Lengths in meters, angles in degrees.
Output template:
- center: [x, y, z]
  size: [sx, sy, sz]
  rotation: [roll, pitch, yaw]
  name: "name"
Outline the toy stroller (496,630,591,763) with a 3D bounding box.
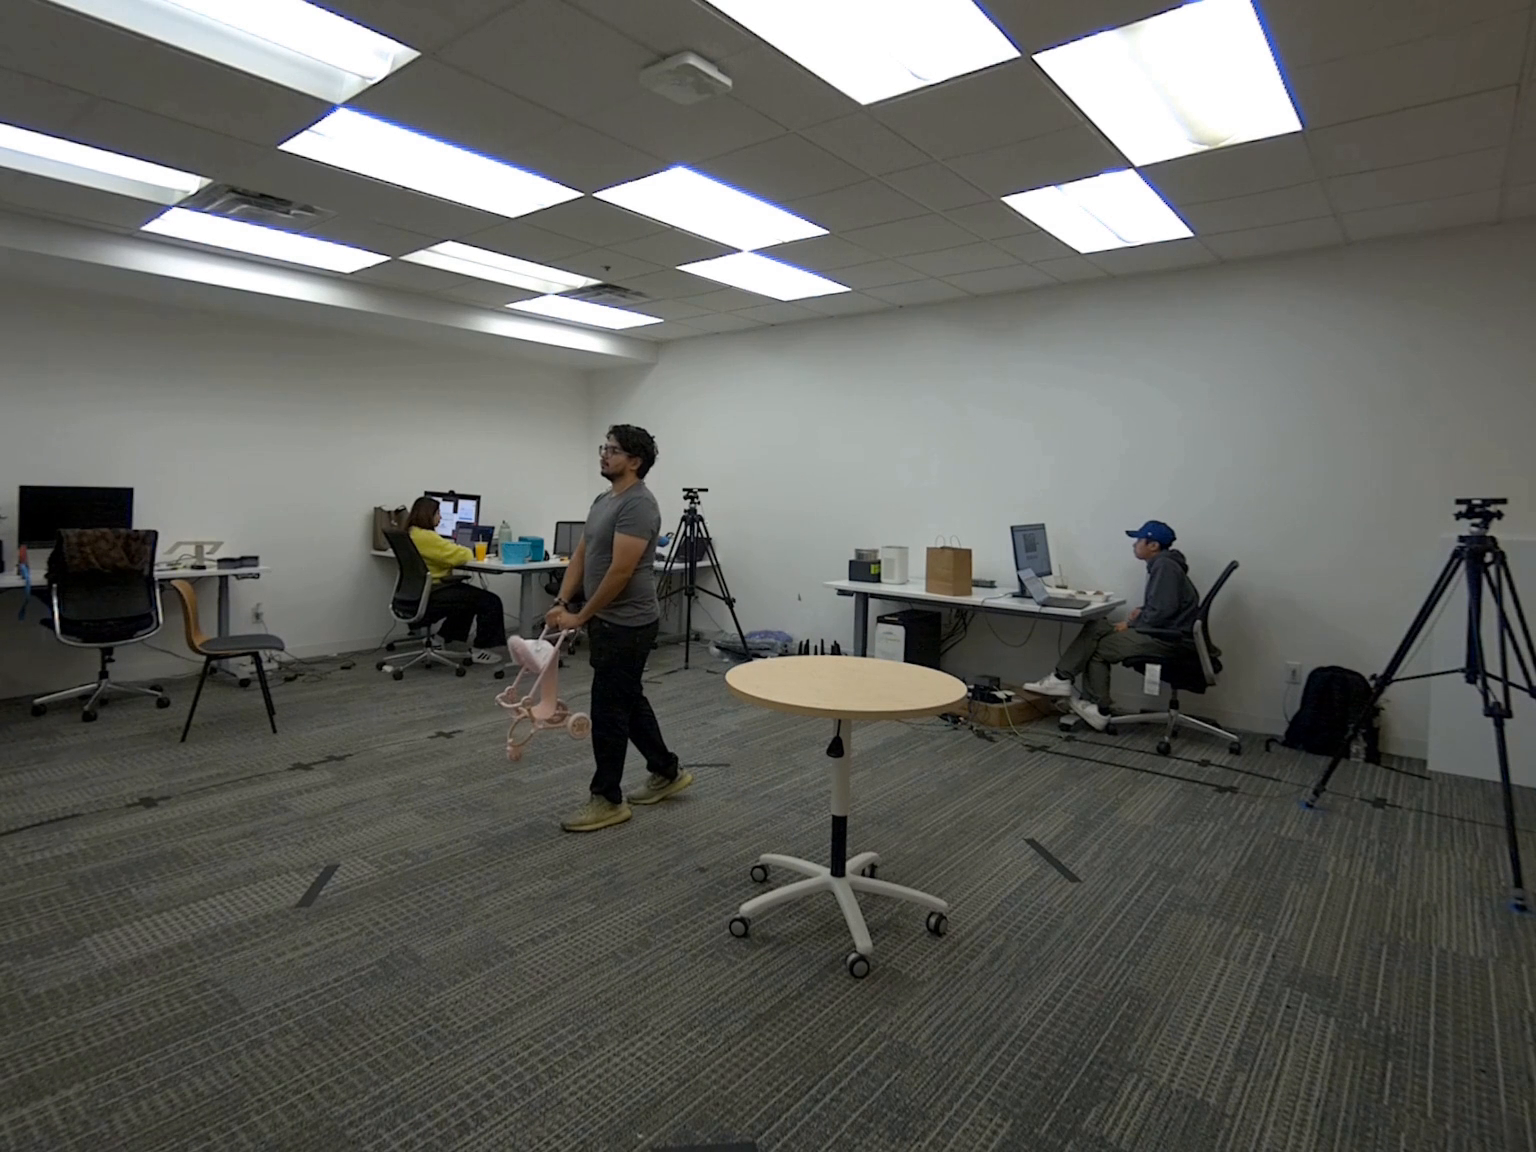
- center: [-0.946, 0.458, 3.425]
  size: [0.334, 0.530, 0.290]
  rotation: [-11, 10, -29]
  name: "toy stroller"
